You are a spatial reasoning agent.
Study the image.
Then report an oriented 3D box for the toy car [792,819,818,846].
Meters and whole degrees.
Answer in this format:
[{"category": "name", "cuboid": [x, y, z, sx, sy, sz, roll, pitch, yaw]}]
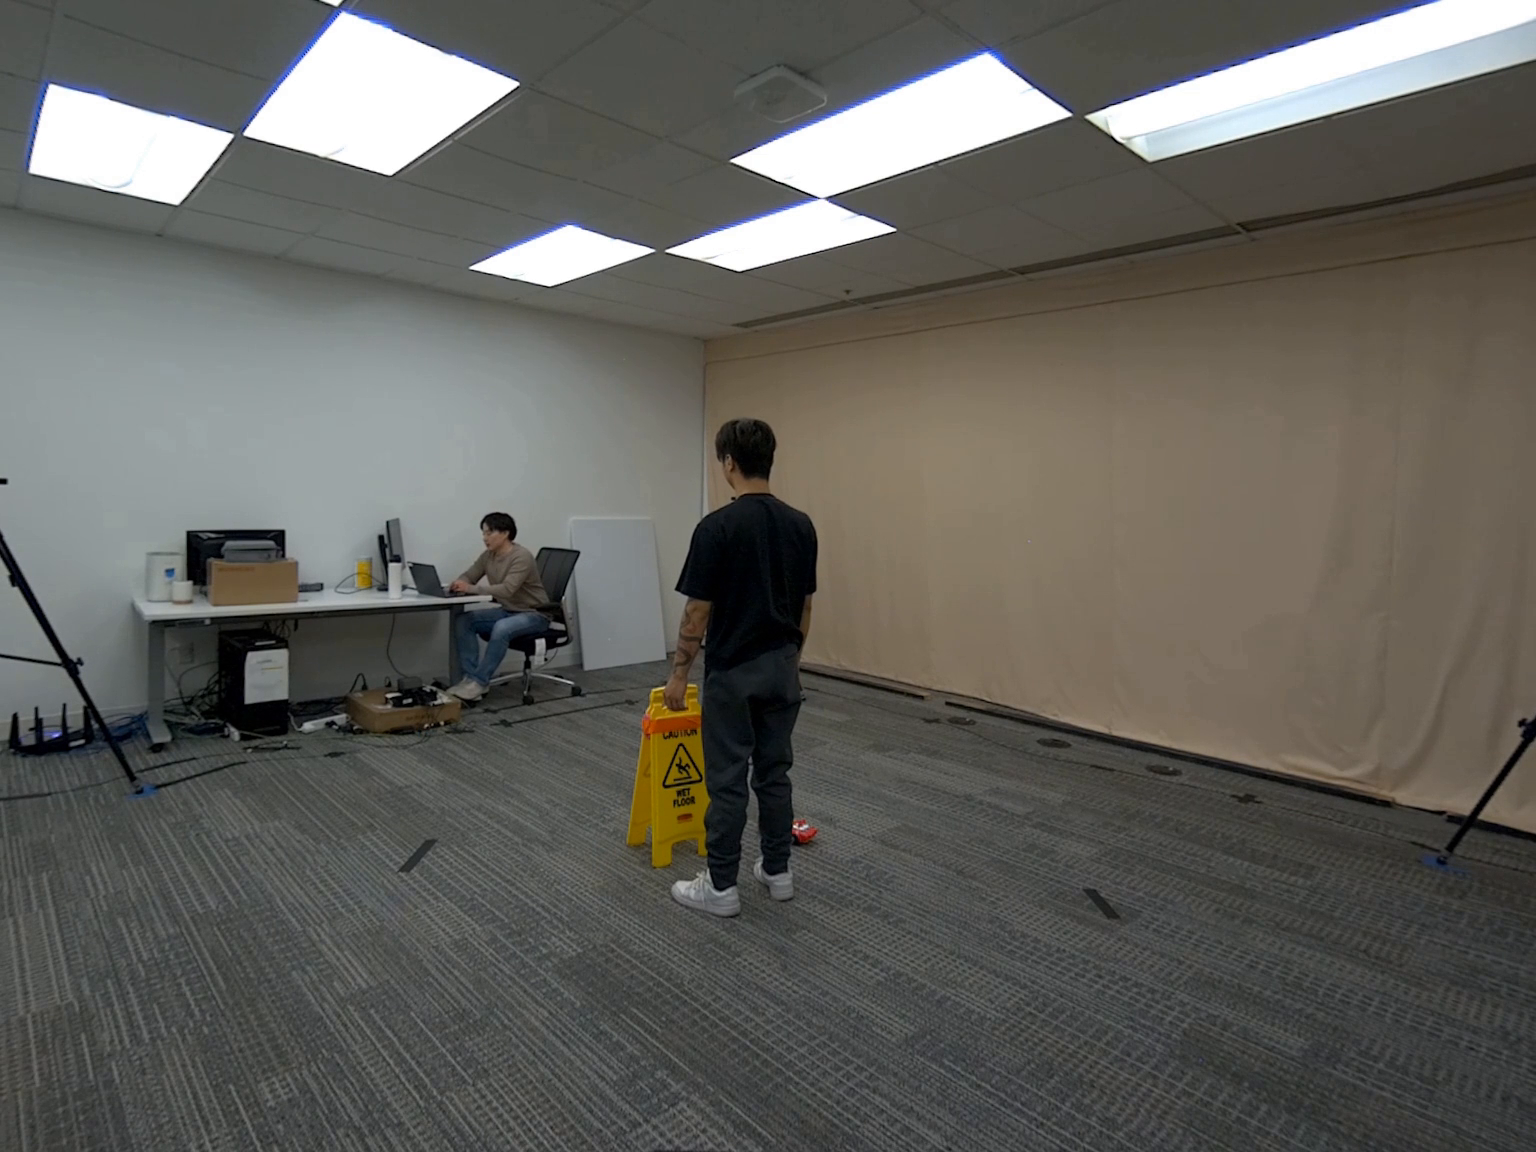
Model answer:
[{"category": "toy car", "cuboid": [0.079, 1.053, 3.470, 0.259, 0.083, 0.127, -8, -2, 33]}]
